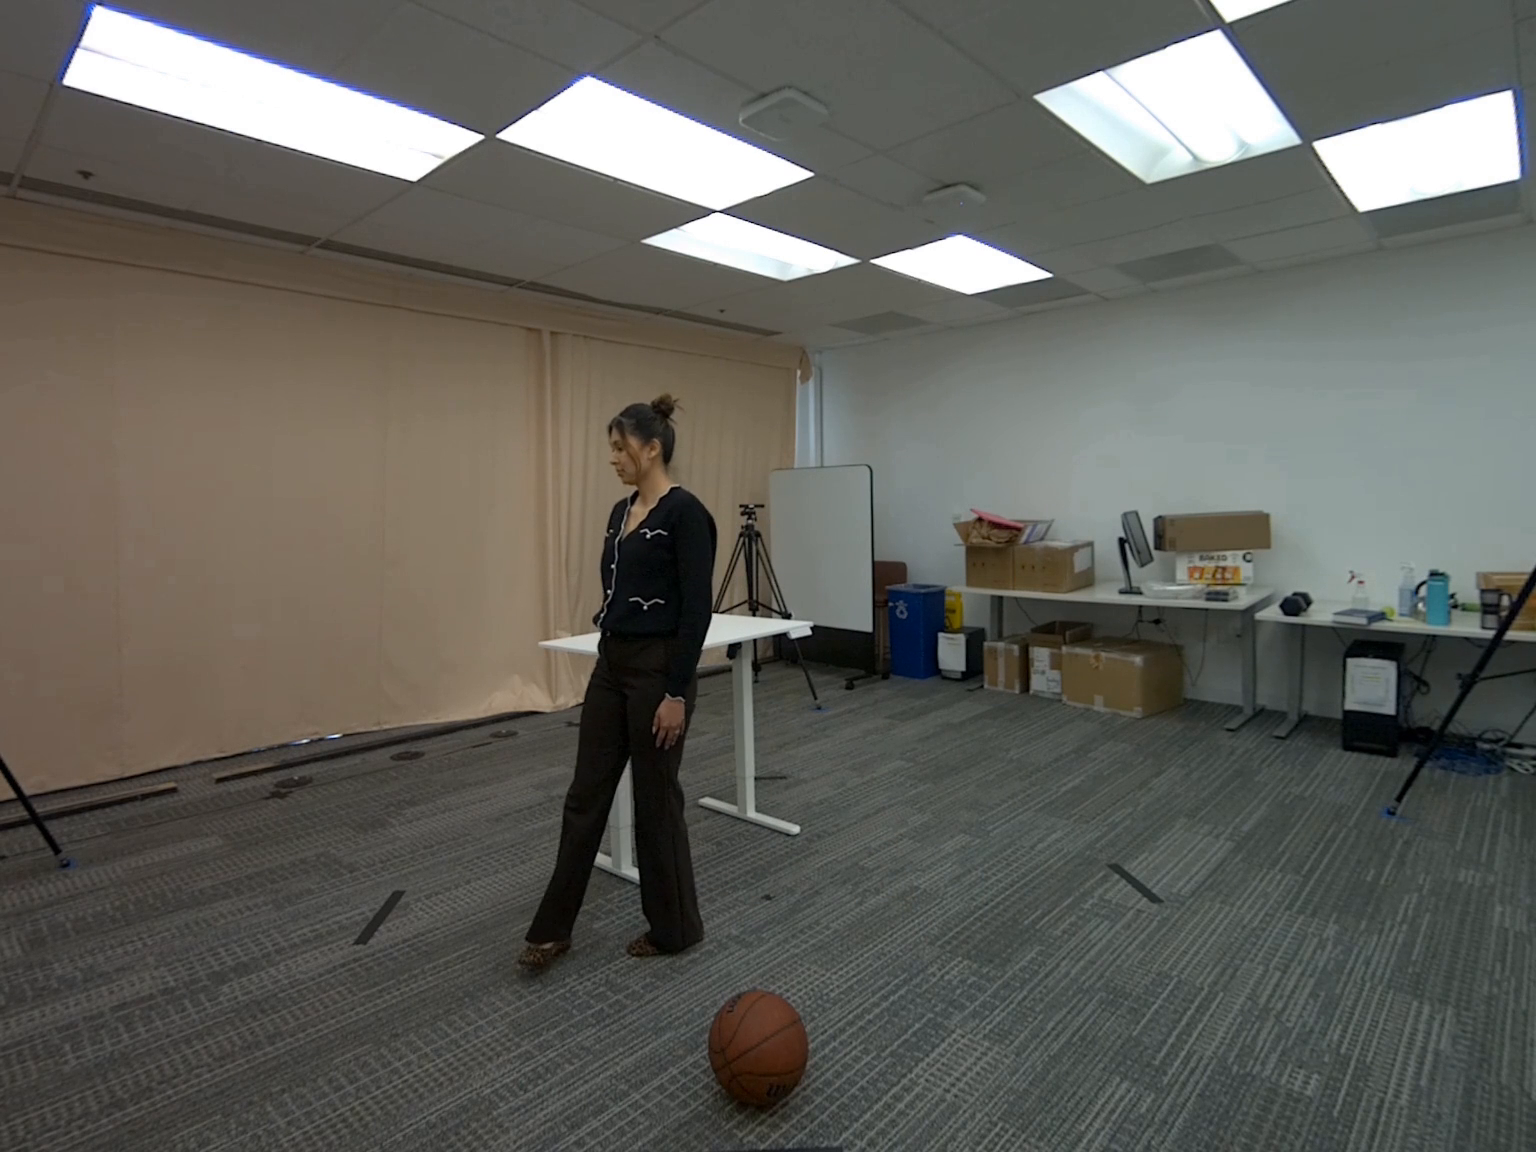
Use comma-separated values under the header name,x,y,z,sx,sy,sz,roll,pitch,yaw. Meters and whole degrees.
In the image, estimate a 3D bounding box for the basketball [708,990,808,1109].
name,x,y,z,sx,sy,sz,roll,pitch,yaw
basketball,-0.023,1.114,1.975,0.236,0.235,0.237,-1,4,-2
